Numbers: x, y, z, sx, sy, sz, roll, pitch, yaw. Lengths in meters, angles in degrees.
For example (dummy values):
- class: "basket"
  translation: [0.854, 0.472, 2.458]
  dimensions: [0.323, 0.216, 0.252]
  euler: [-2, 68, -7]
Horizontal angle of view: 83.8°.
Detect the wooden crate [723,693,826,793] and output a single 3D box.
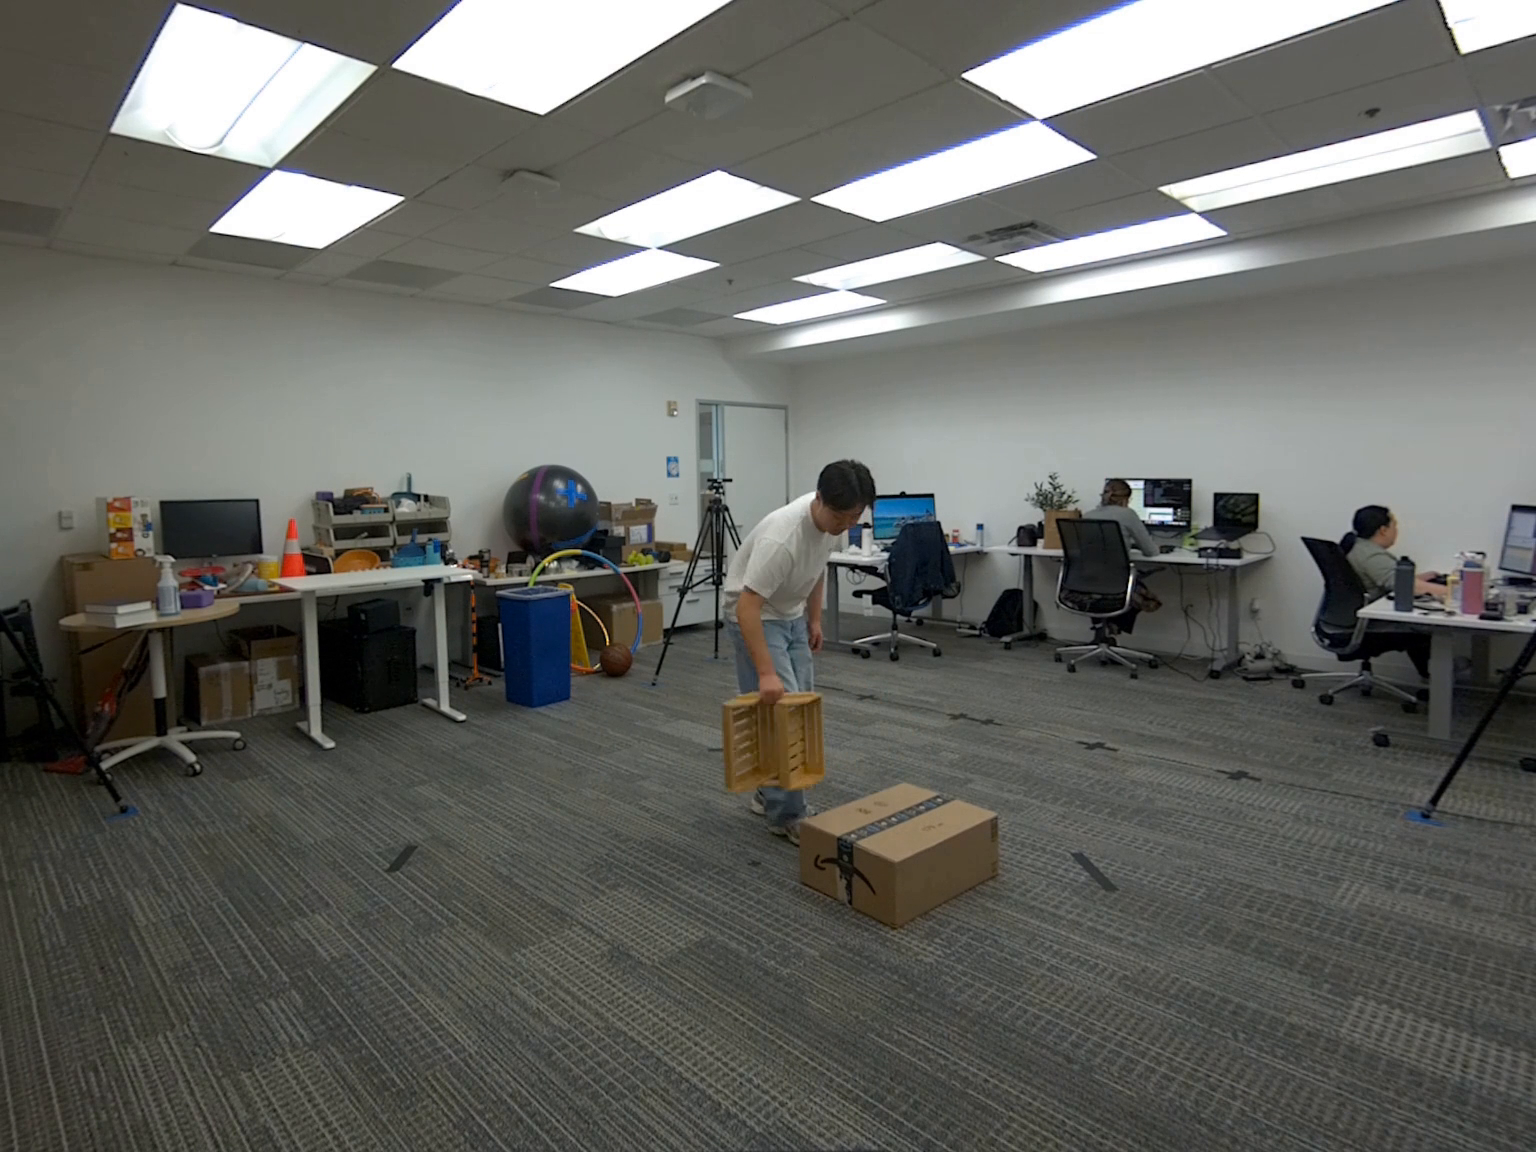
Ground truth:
- class: "wooden crate"
  translation: [0.032, 0.602, 3.033]
  dimensions: [0.280, 0.324, 0.295]
  euler: [-3, 2, 29]
